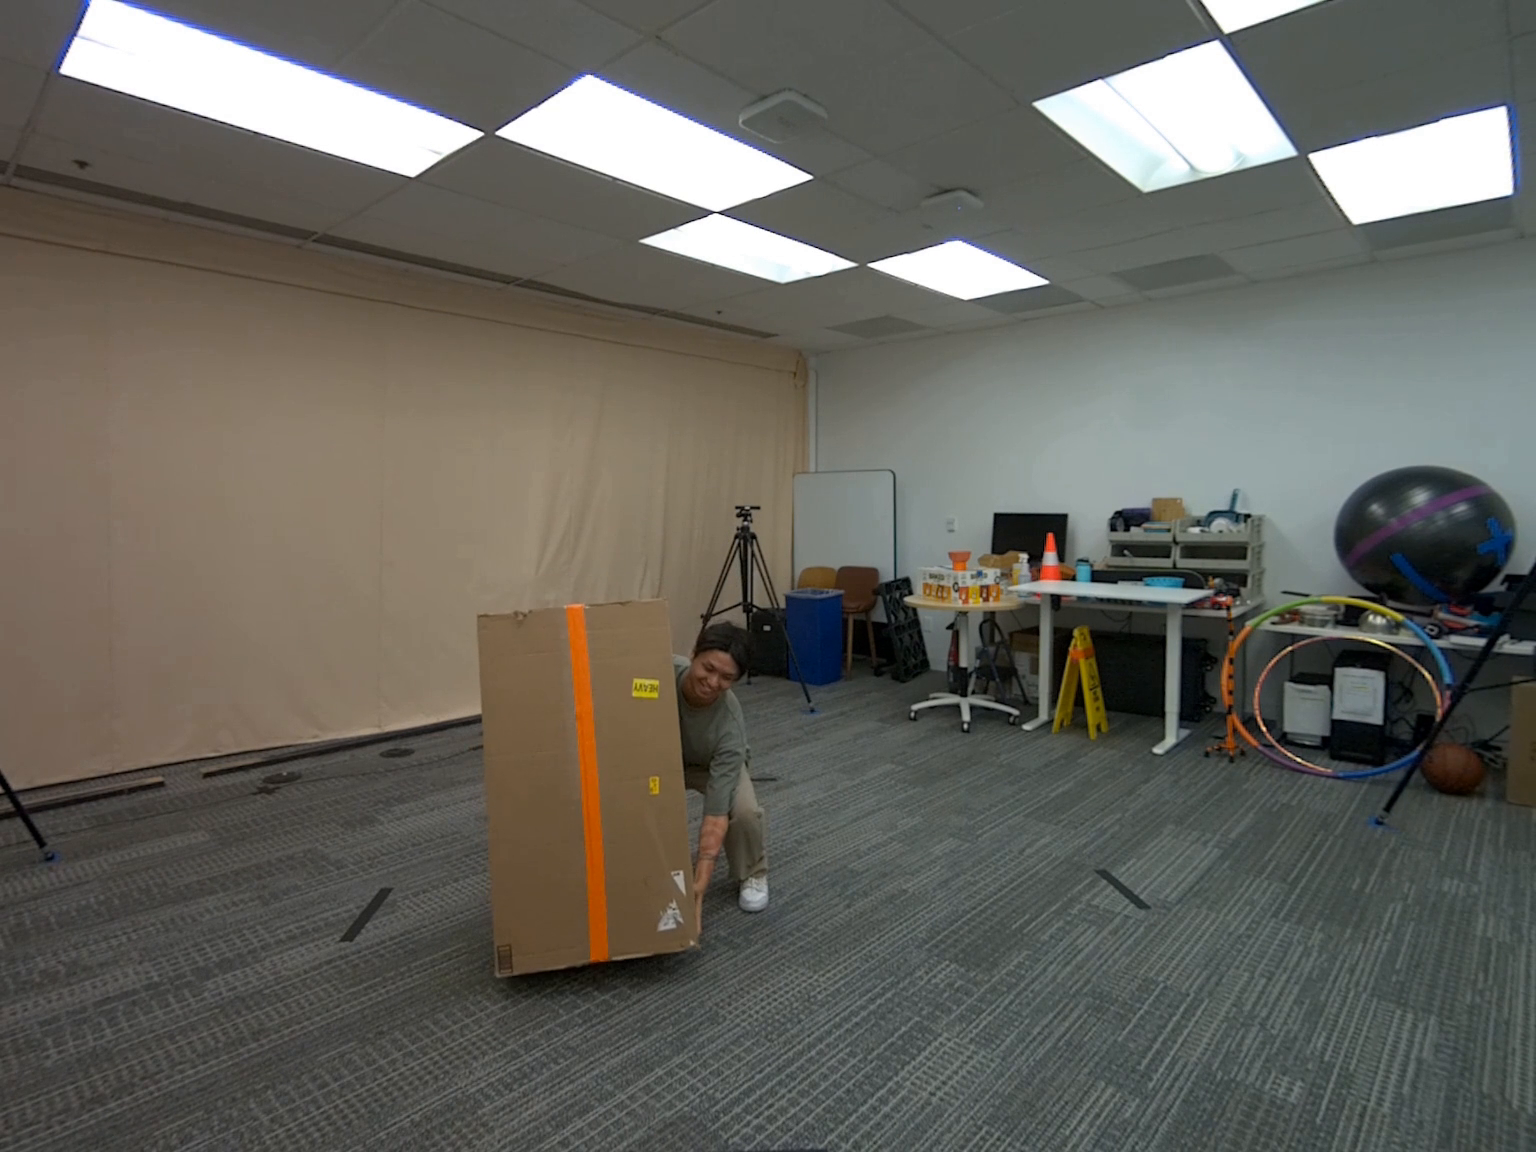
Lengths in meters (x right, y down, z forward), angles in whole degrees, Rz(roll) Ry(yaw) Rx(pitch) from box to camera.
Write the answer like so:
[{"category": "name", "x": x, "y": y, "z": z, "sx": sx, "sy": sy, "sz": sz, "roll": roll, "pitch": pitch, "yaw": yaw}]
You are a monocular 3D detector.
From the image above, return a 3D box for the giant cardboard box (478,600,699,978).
[{"category": "giant cardboard box", "x": -0.580, "y": 0.618, "z": 2.678, "sx": 0.574, "sy": 1.031, "sz": 0.426, "roll": -5, "pitch": -7, "yaw": -6}]
